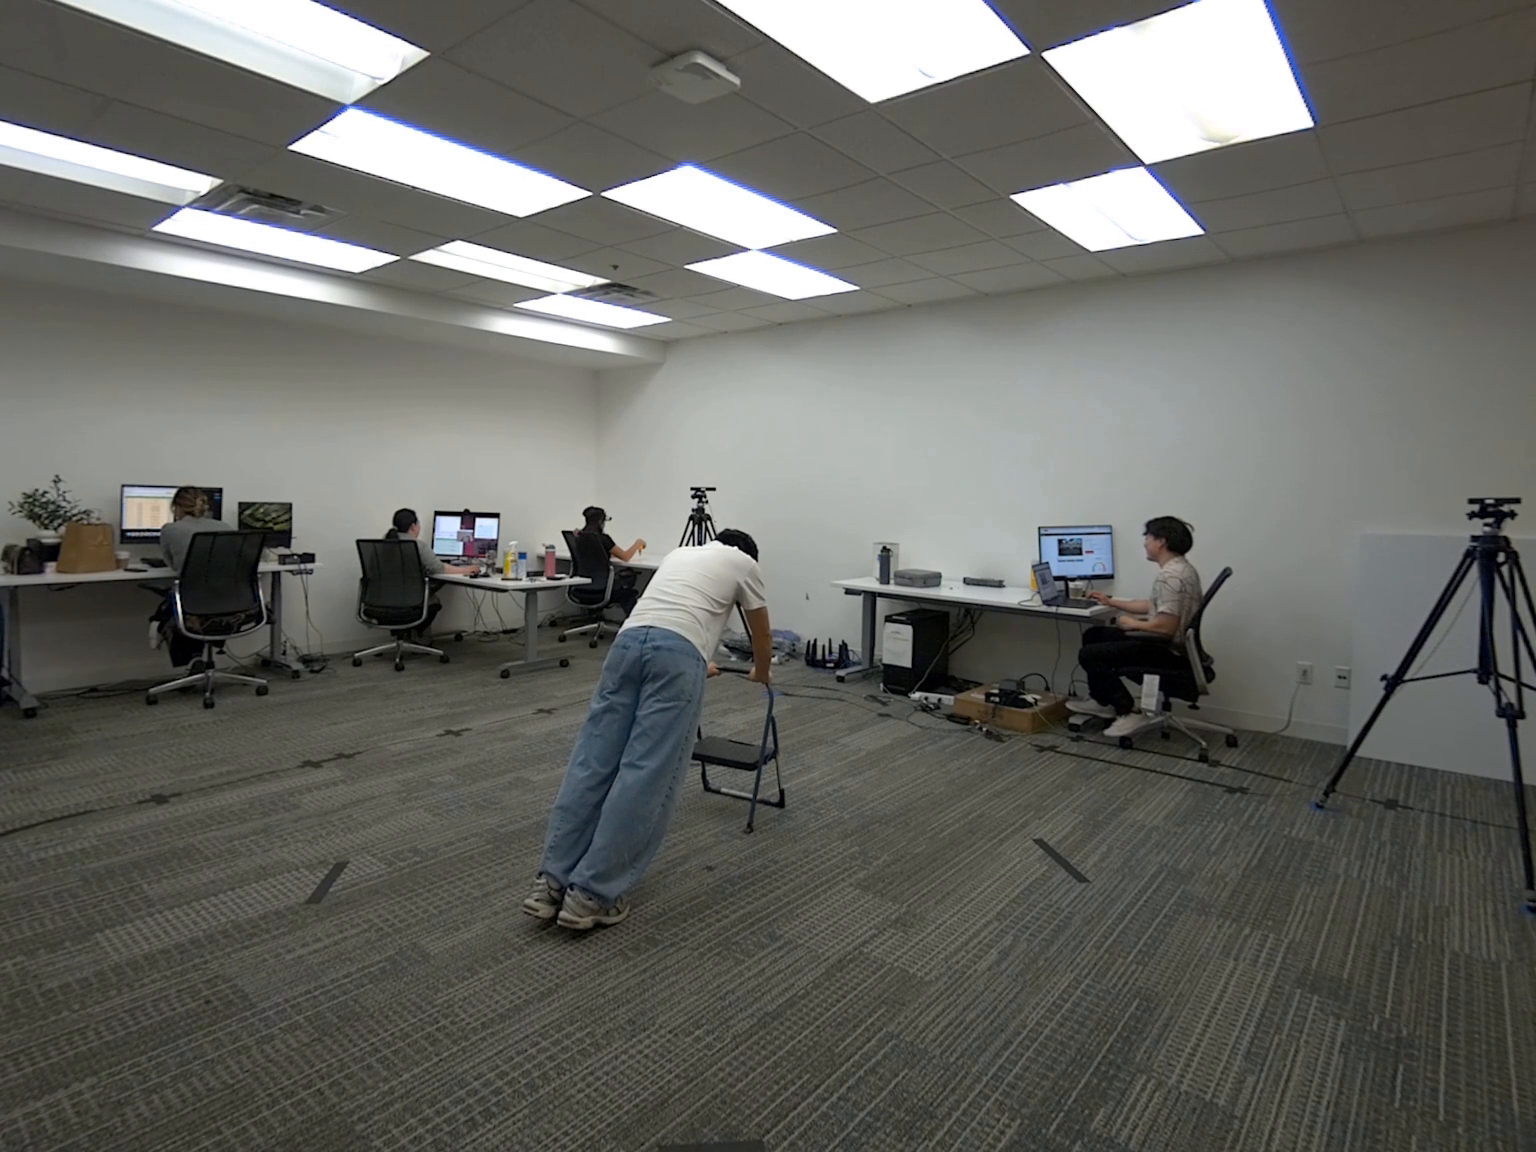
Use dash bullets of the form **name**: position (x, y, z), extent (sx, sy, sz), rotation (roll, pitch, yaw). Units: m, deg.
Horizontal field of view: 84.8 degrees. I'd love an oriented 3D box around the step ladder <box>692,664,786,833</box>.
- **step ladder**: position (-0.182, 0.707, 3.678), extent (0.443, 0.605, 0.340), rotation (3, 3, 28)
